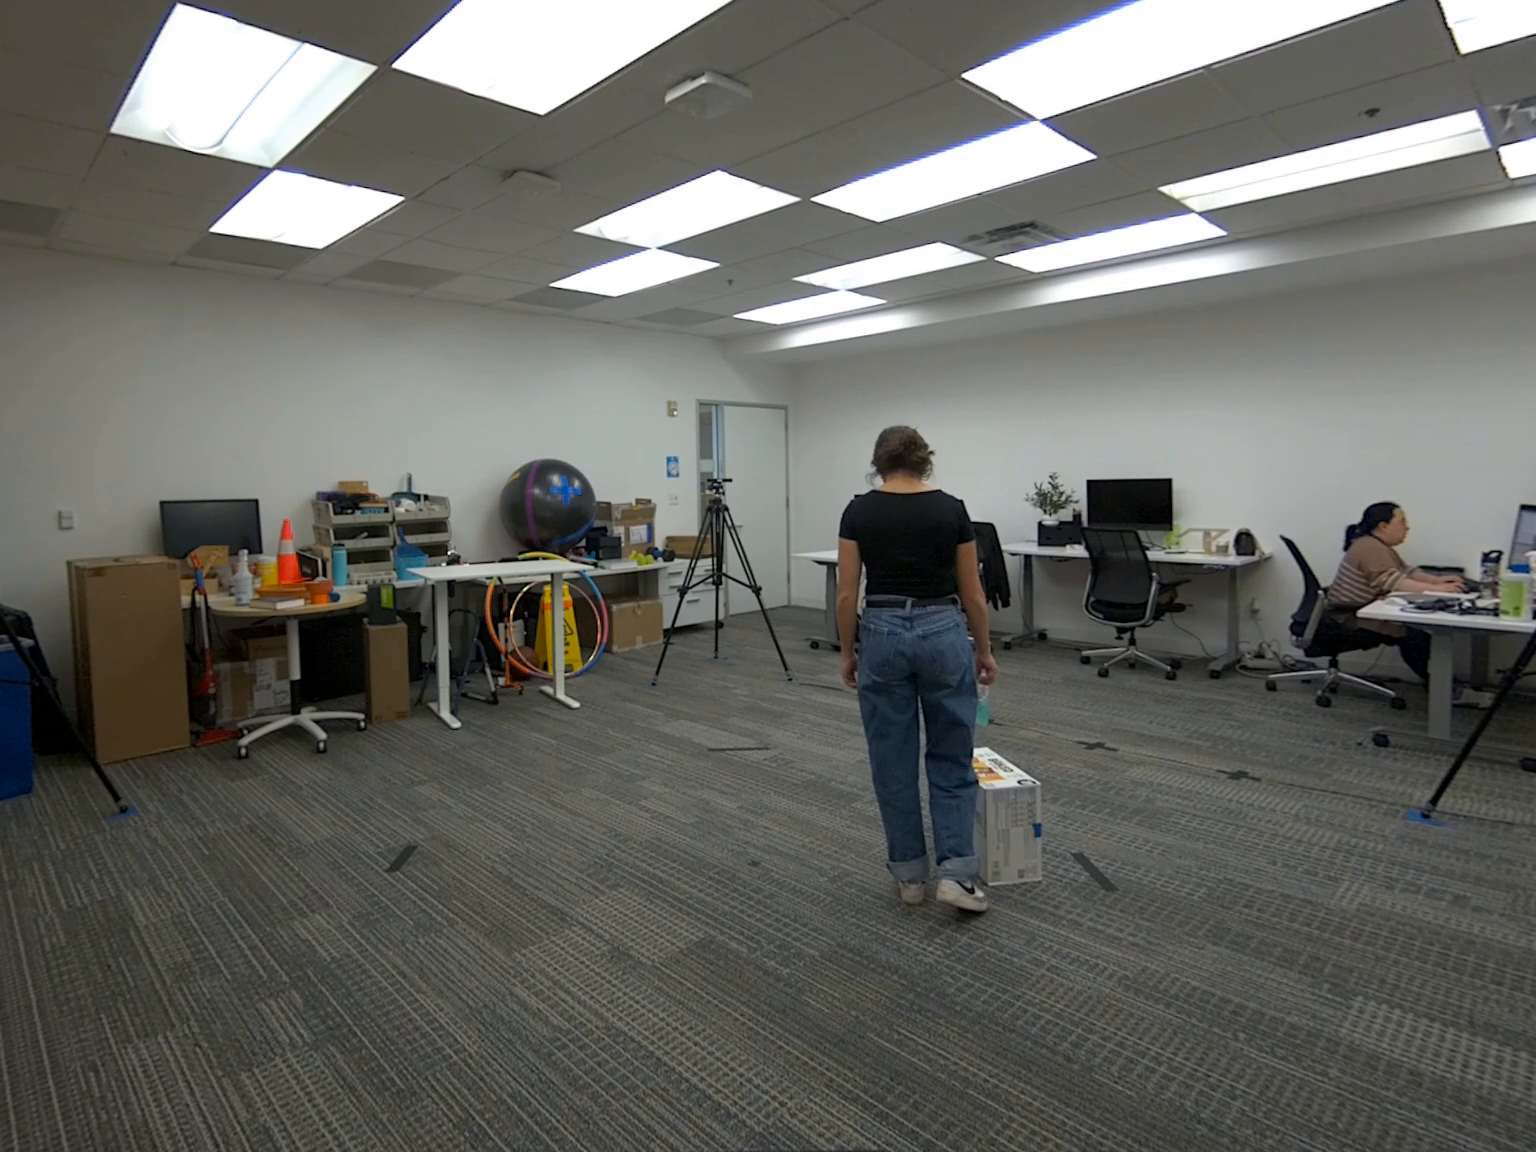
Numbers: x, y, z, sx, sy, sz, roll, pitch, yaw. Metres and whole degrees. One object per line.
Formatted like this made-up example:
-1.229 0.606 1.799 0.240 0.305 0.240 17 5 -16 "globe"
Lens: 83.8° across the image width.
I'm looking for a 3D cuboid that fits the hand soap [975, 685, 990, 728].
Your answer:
0.730 0.422 2.924 0.043 0.167 0.085 -6 5 2 "hand soap"
